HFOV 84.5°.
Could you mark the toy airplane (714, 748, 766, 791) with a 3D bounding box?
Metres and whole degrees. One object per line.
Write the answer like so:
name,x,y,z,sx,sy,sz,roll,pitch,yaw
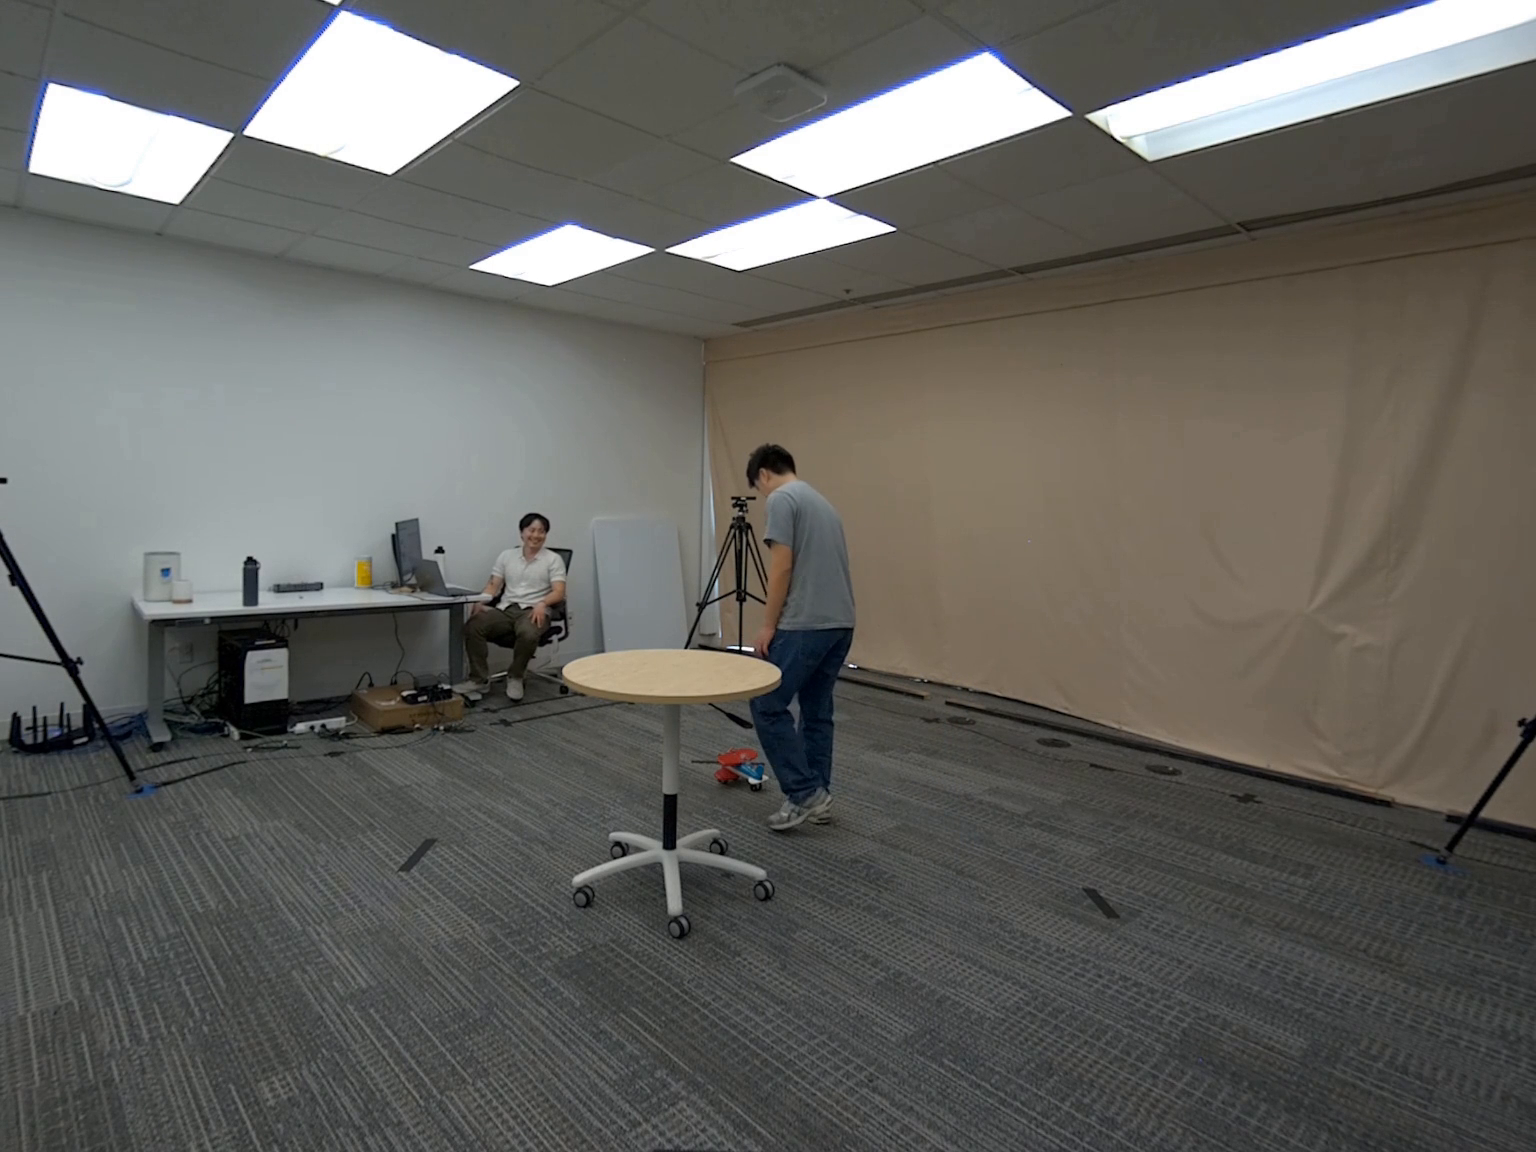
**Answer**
toy airplane,-0.133,0.945,4.113,0.262,0.156,0.249,2,5,12
